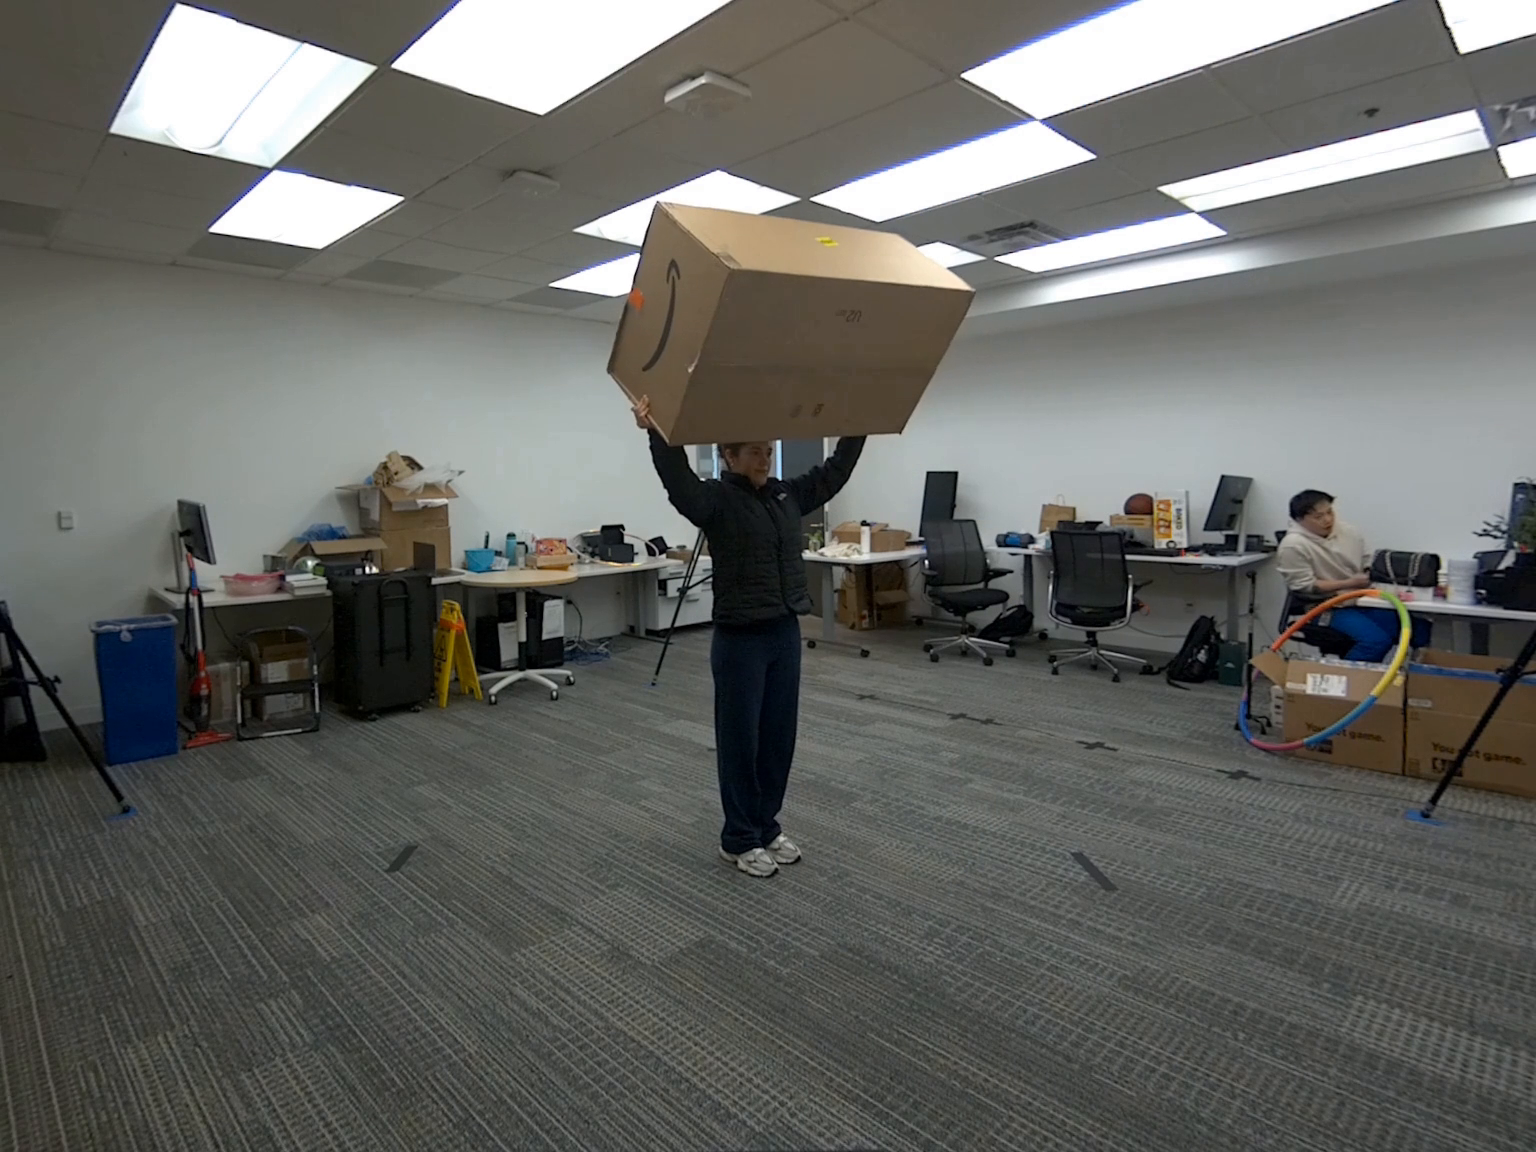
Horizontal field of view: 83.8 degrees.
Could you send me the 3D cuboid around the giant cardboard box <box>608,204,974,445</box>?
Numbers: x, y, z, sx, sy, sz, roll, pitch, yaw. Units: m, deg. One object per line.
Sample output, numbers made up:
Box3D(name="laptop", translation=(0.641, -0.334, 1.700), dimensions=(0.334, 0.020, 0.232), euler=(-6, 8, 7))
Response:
Box3D(name="giant cardboard box", translation=(0.083, -0.791, 2.792), dimensions=(1.003, 0.576, 0.463), euler=(-10, 47, -38))
